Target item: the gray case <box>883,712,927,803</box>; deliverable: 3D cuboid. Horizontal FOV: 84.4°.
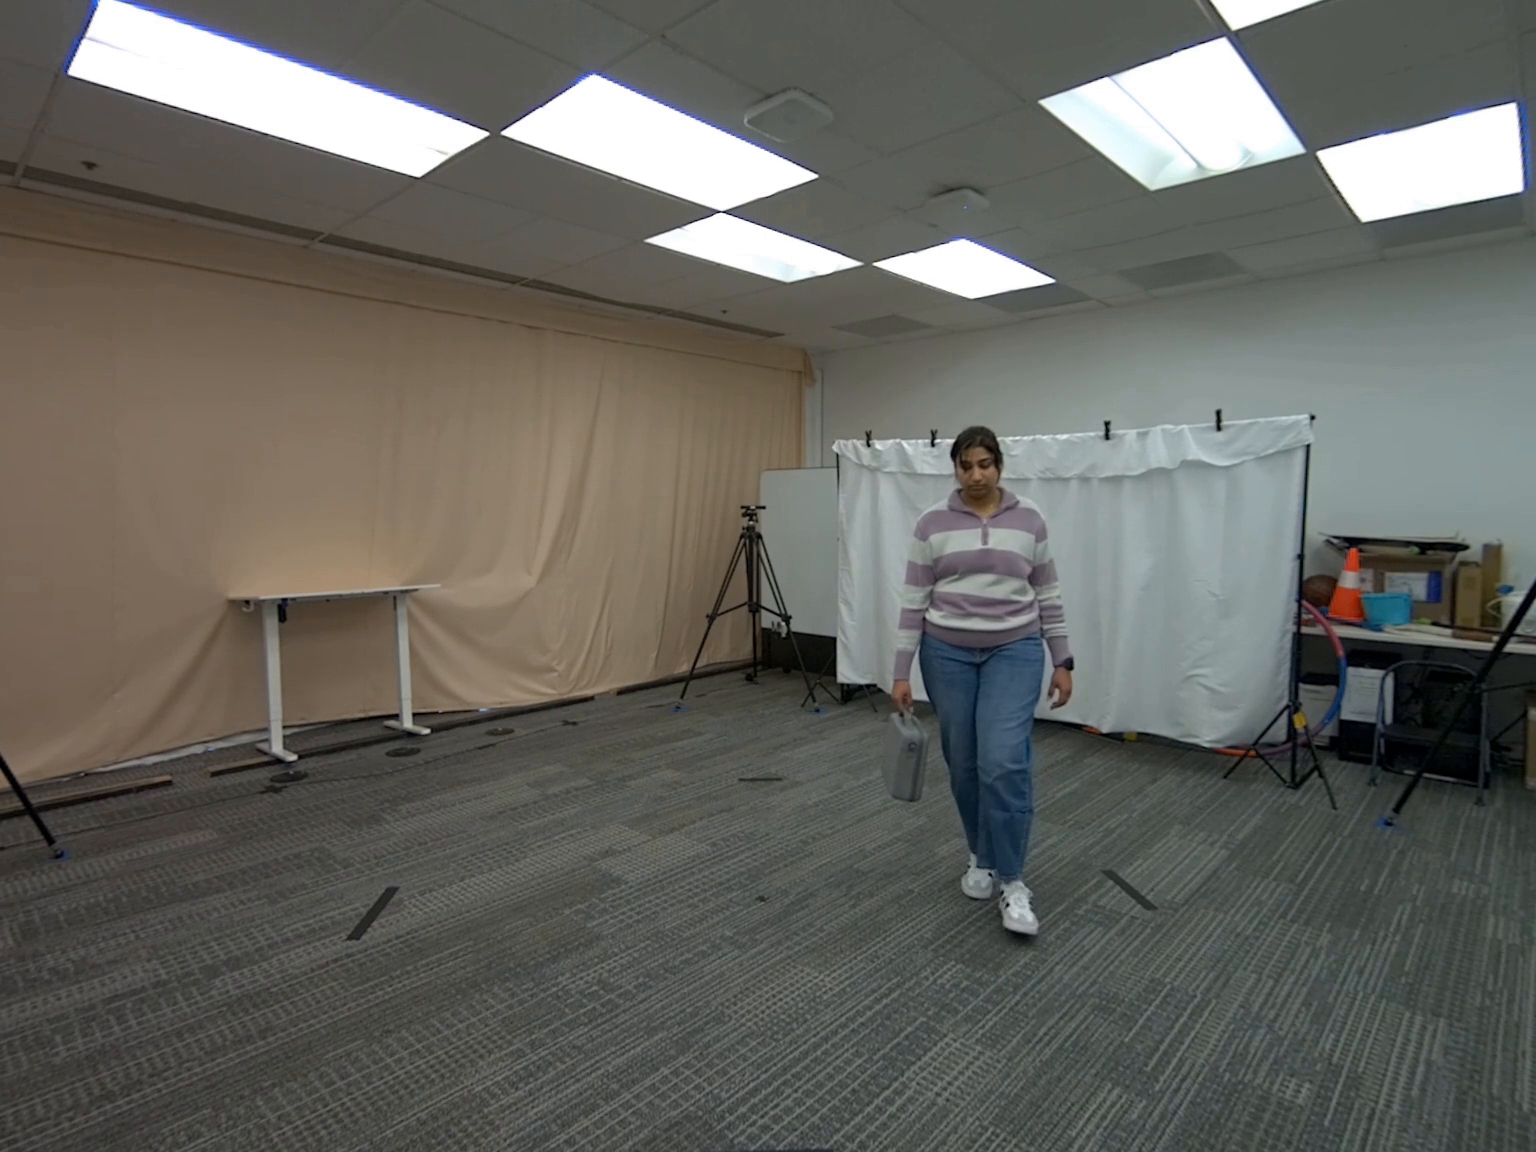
[{"bbox_3d":[0.500,0.643,3.022,0.104,0.259,0.259,3,8,-4],"label":"gray case"}]
